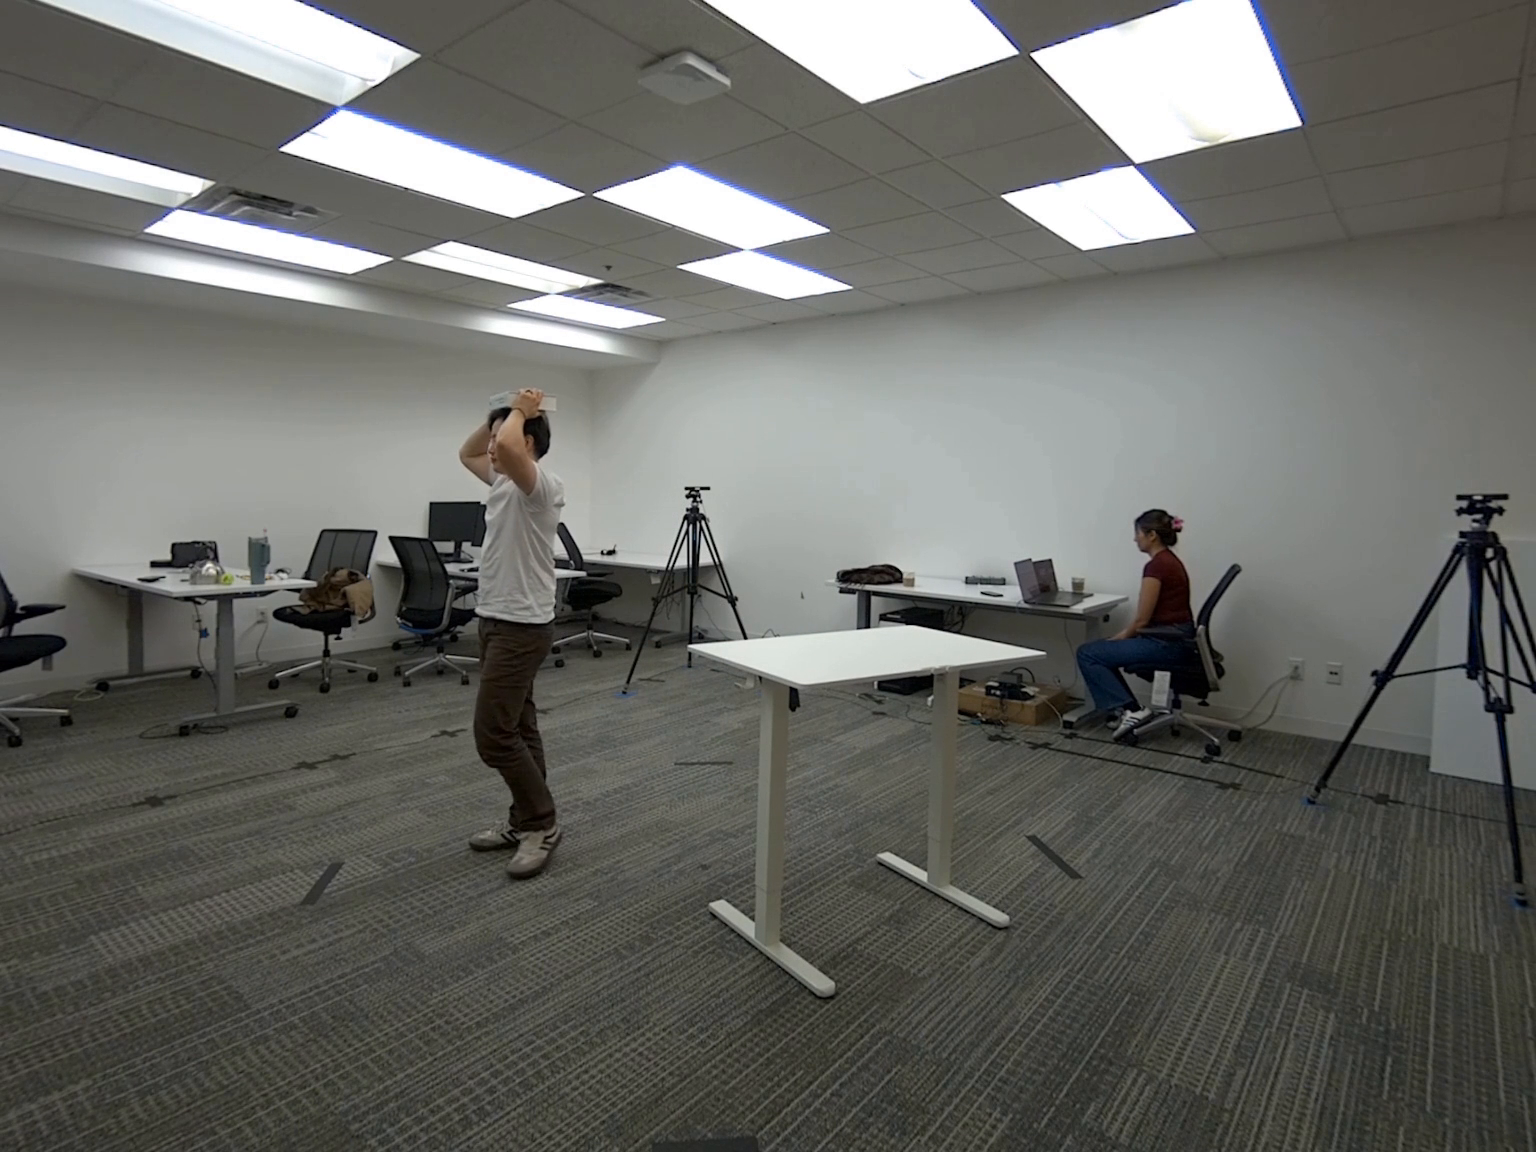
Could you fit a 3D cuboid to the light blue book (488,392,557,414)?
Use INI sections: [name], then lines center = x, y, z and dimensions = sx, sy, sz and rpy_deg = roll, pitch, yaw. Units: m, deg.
[light blue book]
center = -0.939, -0.654, 3.203
dimensions = 0.186, 0.059, 0.269
rpy_deg = -1, 7, -31
